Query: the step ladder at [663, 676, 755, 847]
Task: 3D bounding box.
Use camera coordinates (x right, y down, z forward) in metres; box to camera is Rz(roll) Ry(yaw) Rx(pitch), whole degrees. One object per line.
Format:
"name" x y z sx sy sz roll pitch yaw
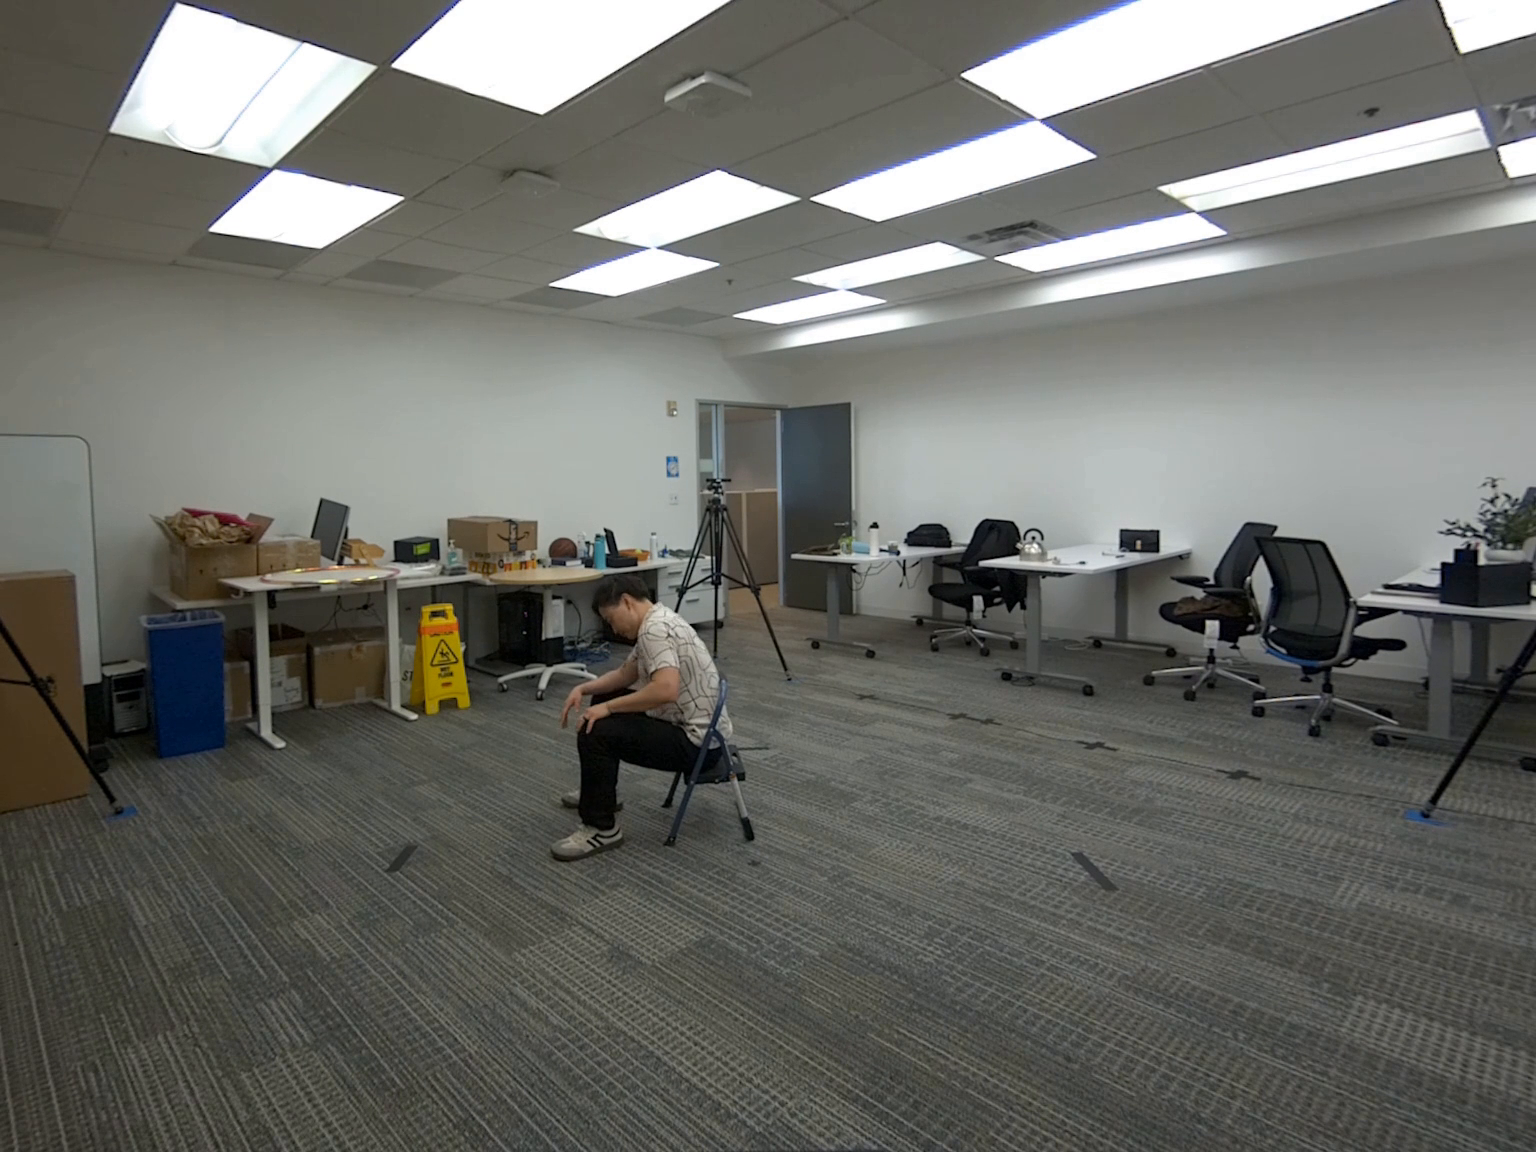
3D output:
"step ladder" -0.253 0.707 3.466 0.347 0.604 0.435 -1 4 -8
